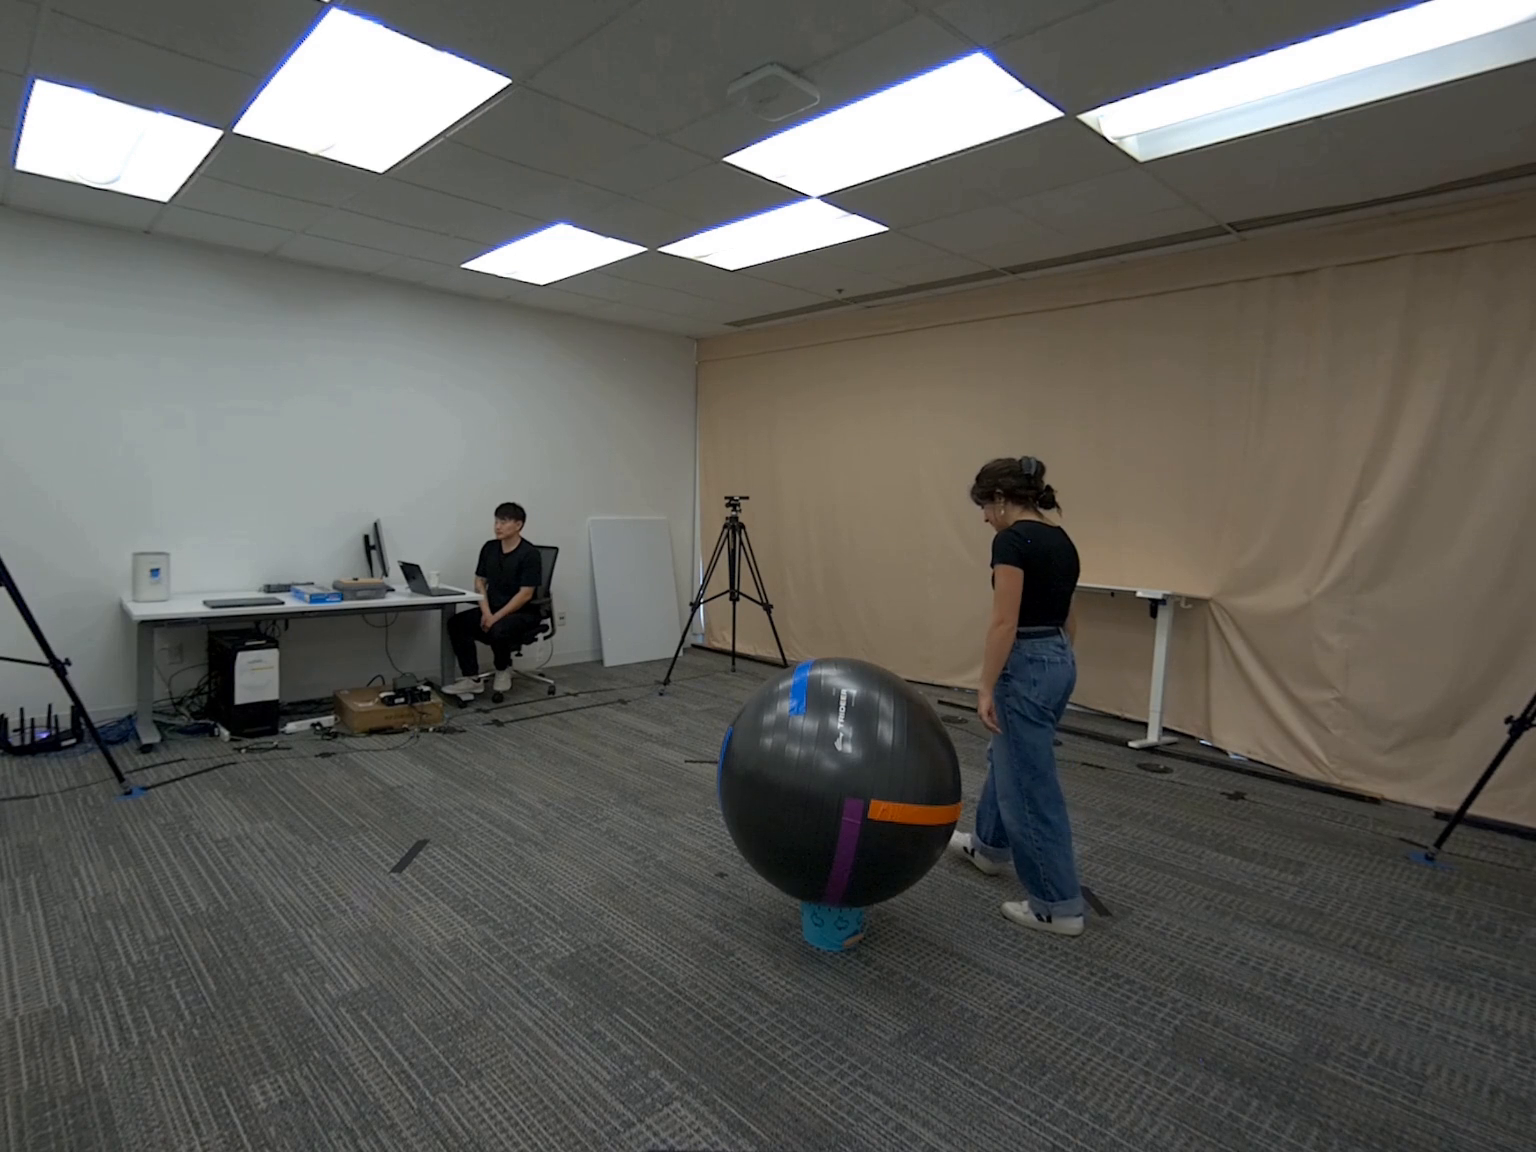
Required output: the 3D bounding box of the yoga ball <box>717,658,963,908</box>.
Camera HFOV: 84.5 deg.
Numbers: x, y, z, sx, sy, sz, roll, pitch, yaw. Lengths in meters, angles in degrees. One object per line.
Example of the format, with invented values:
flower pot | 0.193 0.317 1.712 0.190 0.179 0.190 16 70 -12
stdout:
yoga ball | 0.215 0.644 2.658 0.757 0.756 0.761 1 4 -1
